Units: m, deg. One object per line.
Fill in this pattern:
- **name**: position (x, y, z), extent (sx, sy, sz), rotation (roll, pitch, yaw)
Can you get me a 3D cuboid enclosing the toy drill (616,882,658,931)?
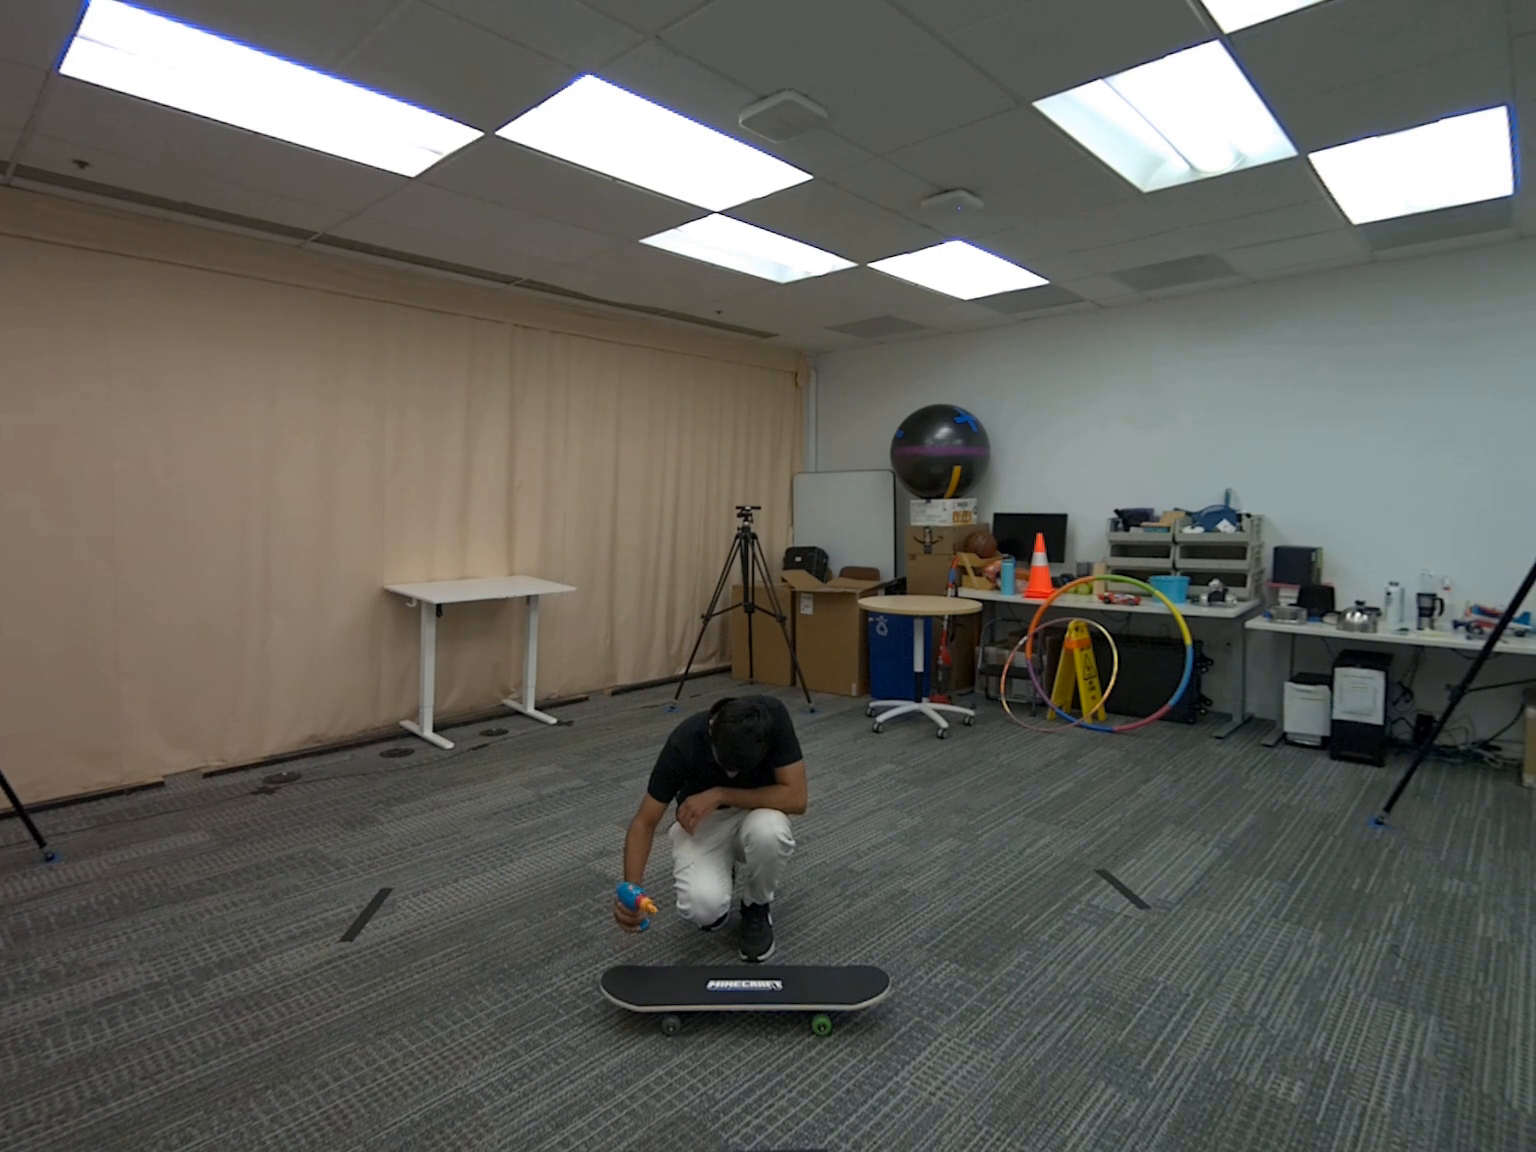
- **toy drill**: position (-0.340, 0.932, 2.346), extent (0.060, 0.143, 0.176), rotation (-27, 25, -34)
